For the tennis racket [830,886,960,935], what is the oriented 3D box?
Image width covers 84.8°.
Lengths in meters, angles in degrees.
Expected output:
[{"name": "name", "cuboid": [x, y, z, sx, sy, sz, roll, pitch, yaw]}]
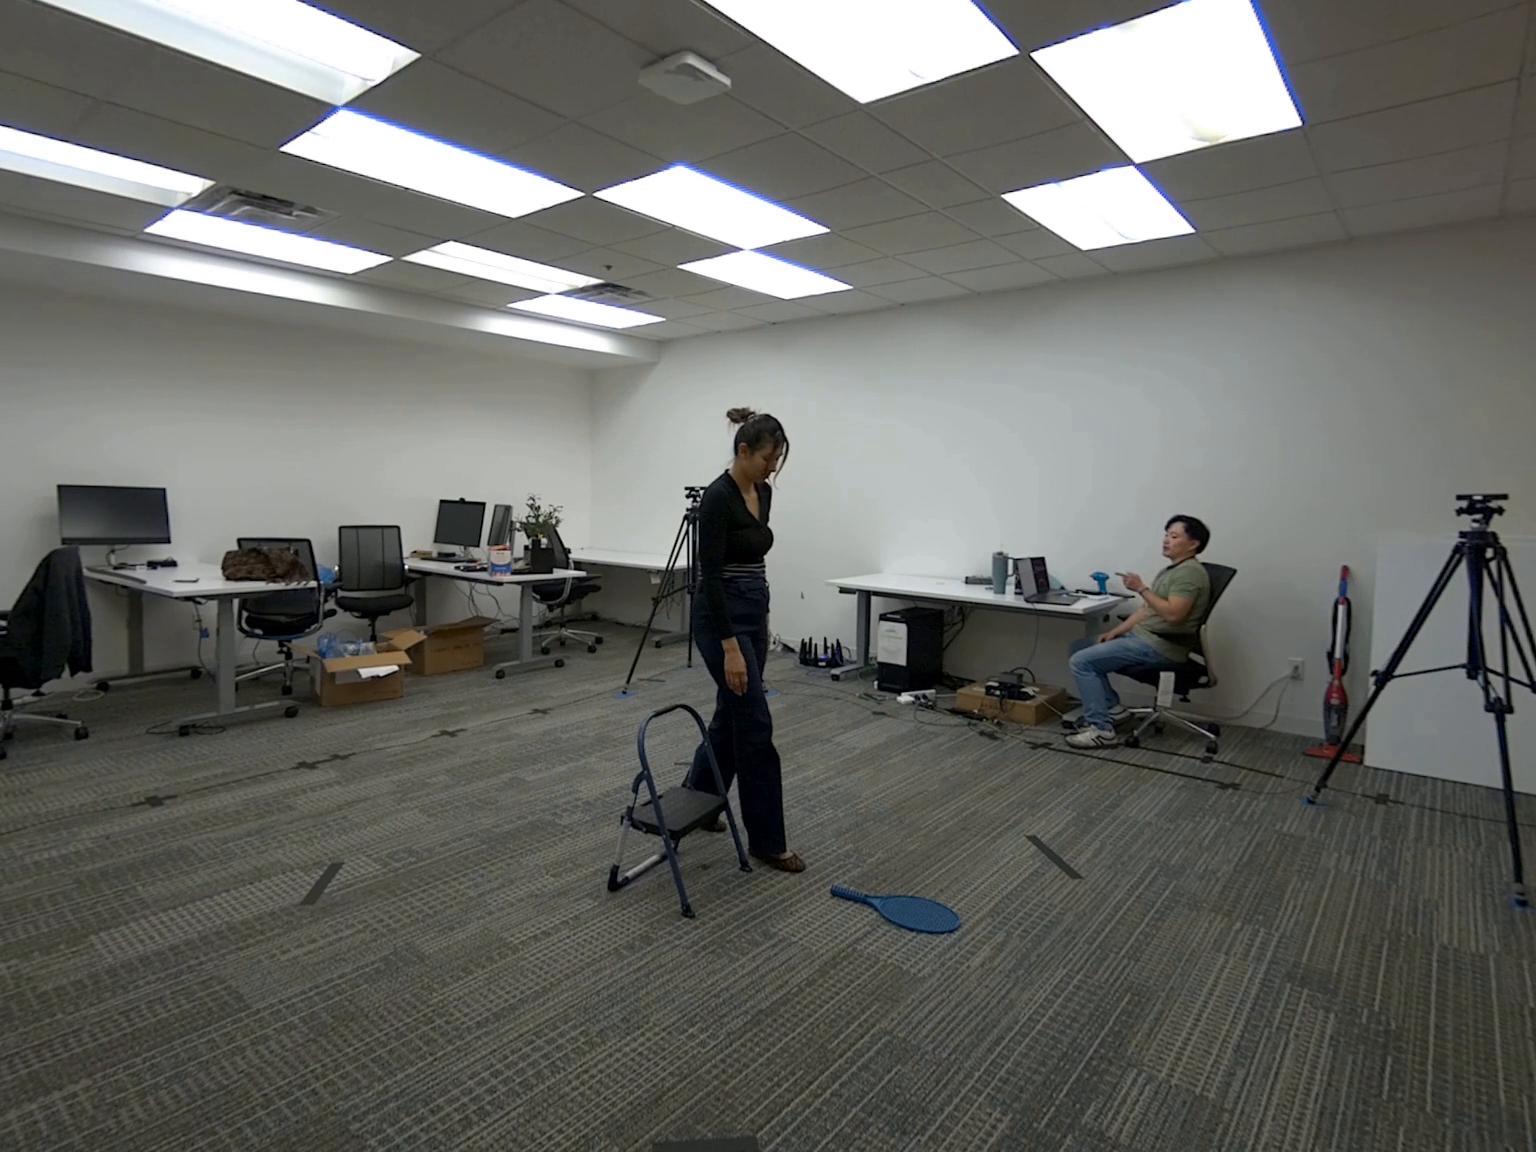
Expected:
[{"name": "tennis racket", "cuboid": [0.403, 1.087, 2.824, 0.444, 0.031, 0.209, 4, 7, 23]}]
